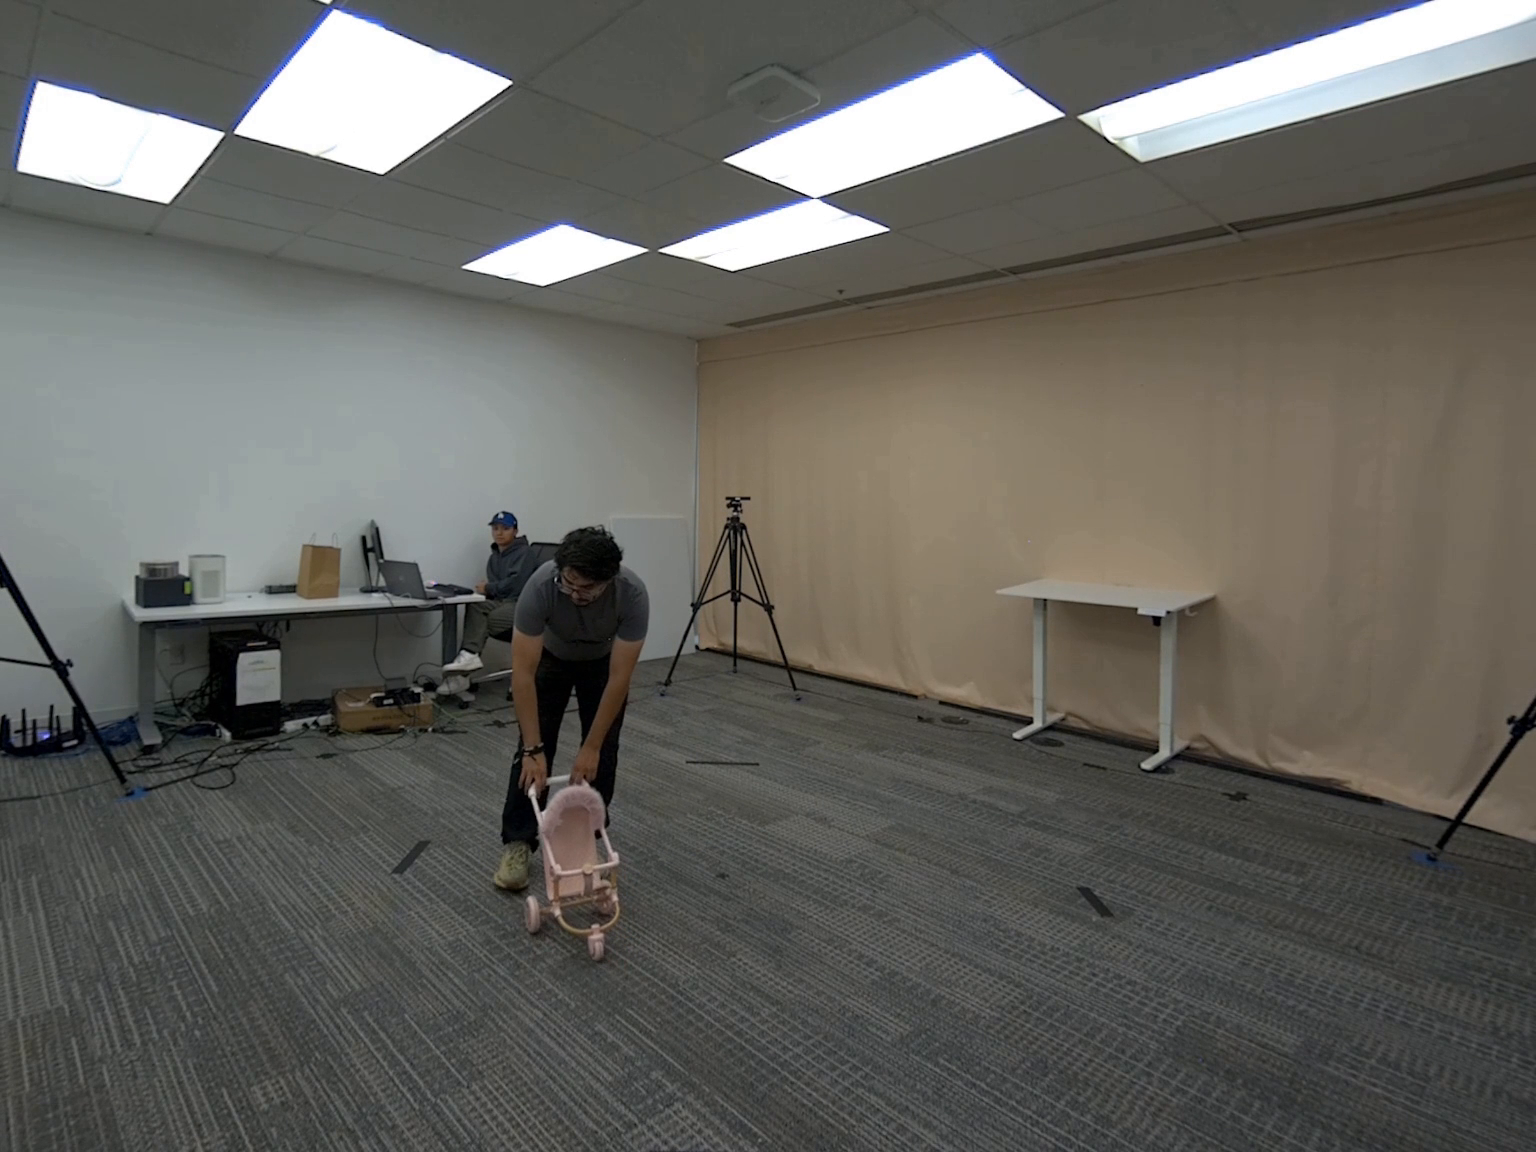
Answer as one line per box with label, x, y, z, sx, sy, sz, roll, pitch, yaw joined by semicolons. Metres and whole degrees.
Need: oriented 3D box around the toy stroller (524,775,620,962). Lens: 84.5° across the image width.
toy stroller;-0.613;0.912;2.671;0.276;0.539;0.345;-1;-11;-28
